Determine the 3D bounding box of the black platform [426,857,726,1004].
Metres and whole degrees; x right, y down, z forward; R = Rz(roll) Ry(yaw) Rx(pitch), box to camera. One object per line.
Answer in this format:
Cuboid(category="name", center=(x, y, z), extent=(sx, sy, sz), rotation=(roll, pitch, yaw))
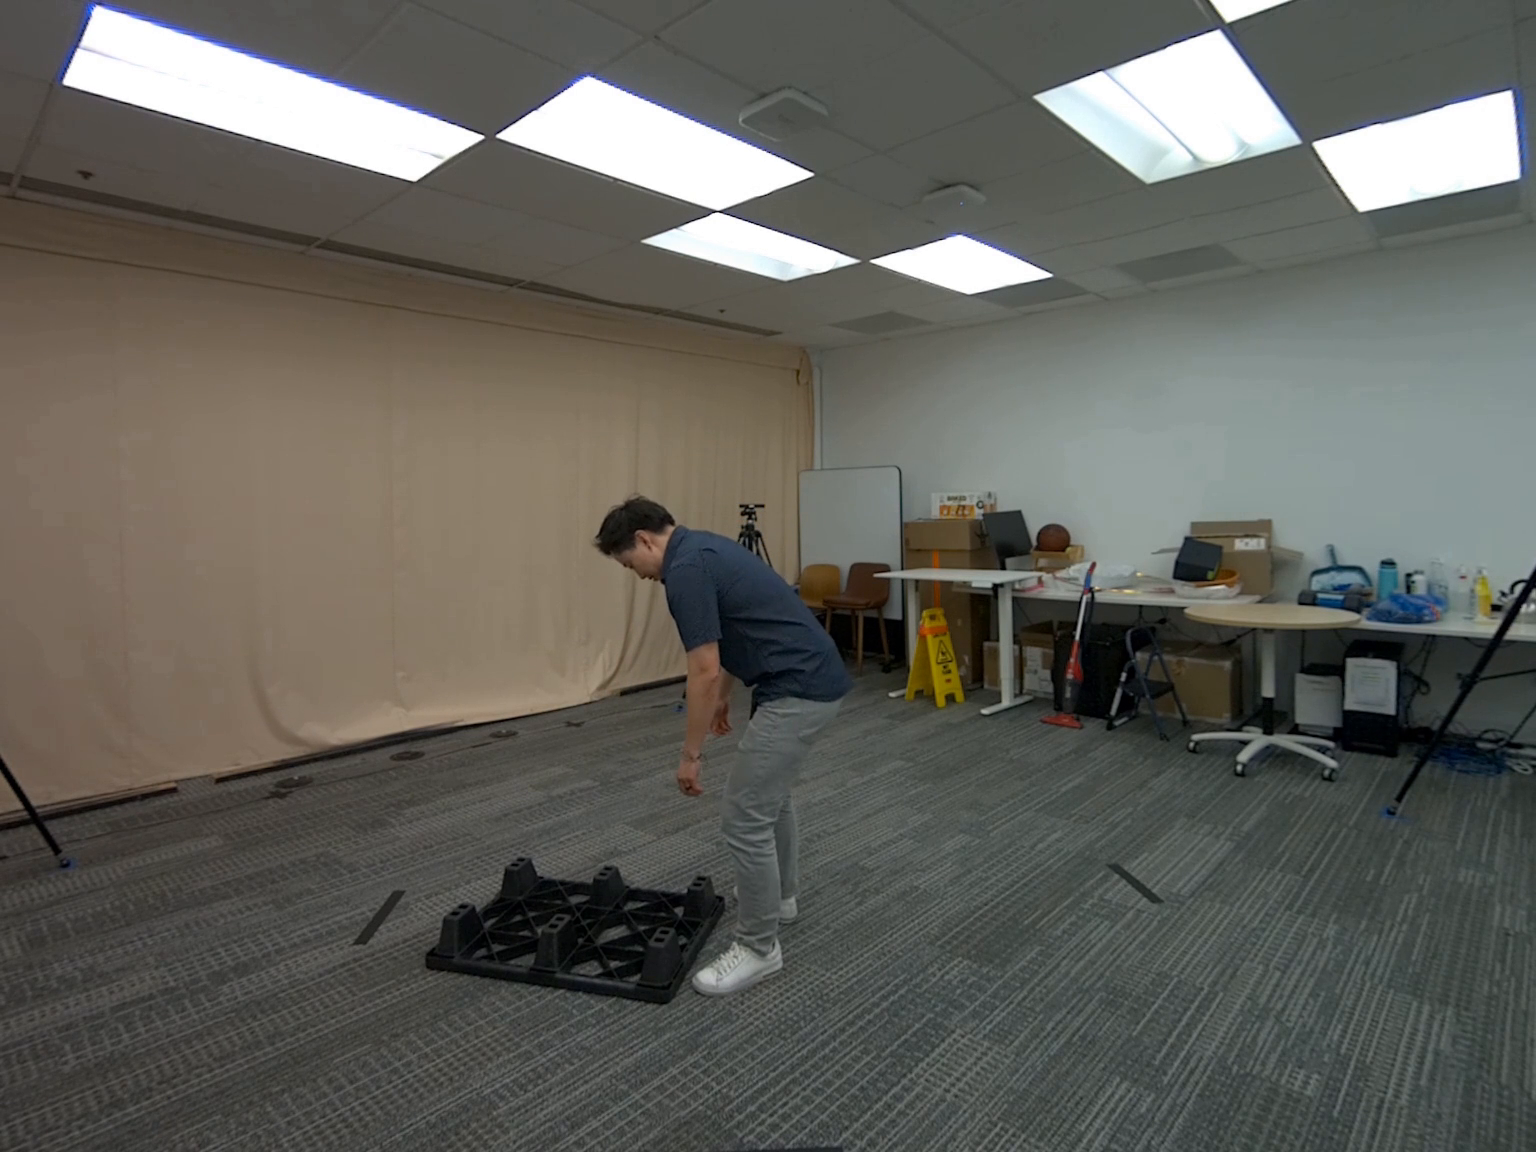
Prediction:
Cuboid(category="black platform", center=(-0.600, 1.110, 2.733), extent=(0.819, 0.143, 0.596), rotation=(0, 5, 15))
